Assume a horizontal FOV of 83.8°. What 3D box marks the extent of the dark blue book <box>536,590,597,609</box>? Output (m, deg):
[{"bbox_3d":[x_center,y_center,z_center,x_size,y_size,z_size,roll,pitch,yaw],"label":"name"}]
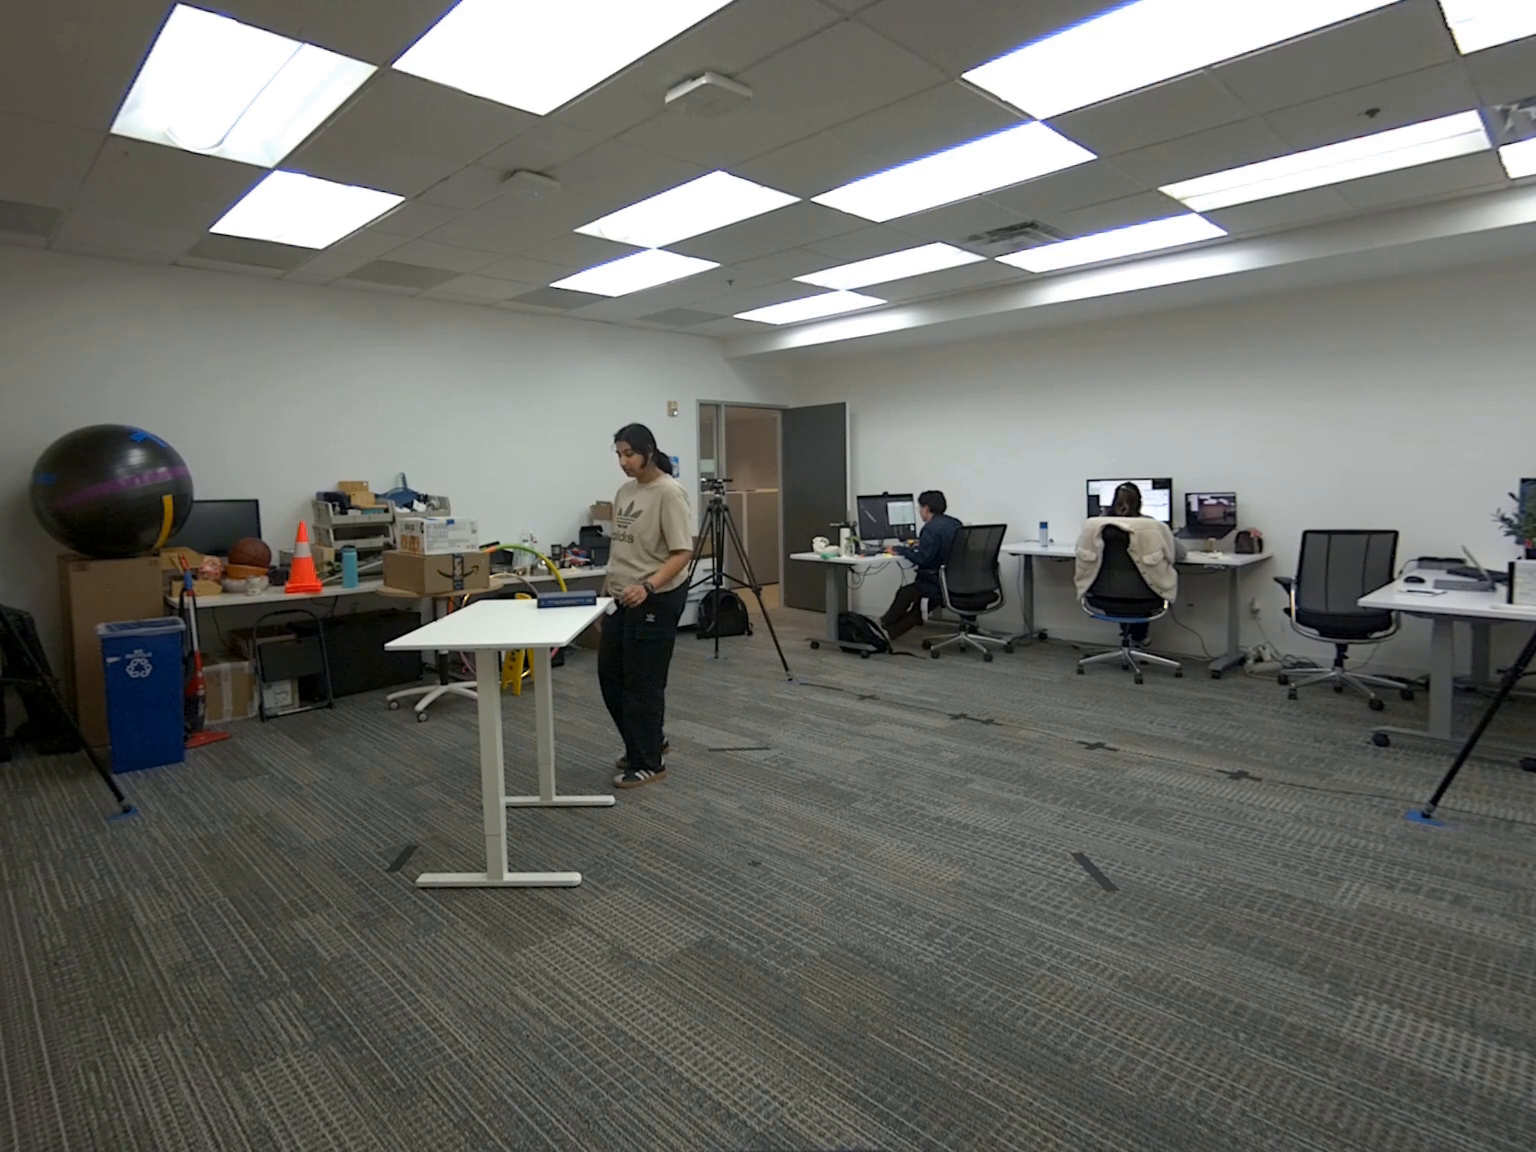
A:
[{"bbox_3d":[-0.860,0.099,3.619,0.242,0.045,0.166,-4,7,-12],"label":"dark blue book"}]
